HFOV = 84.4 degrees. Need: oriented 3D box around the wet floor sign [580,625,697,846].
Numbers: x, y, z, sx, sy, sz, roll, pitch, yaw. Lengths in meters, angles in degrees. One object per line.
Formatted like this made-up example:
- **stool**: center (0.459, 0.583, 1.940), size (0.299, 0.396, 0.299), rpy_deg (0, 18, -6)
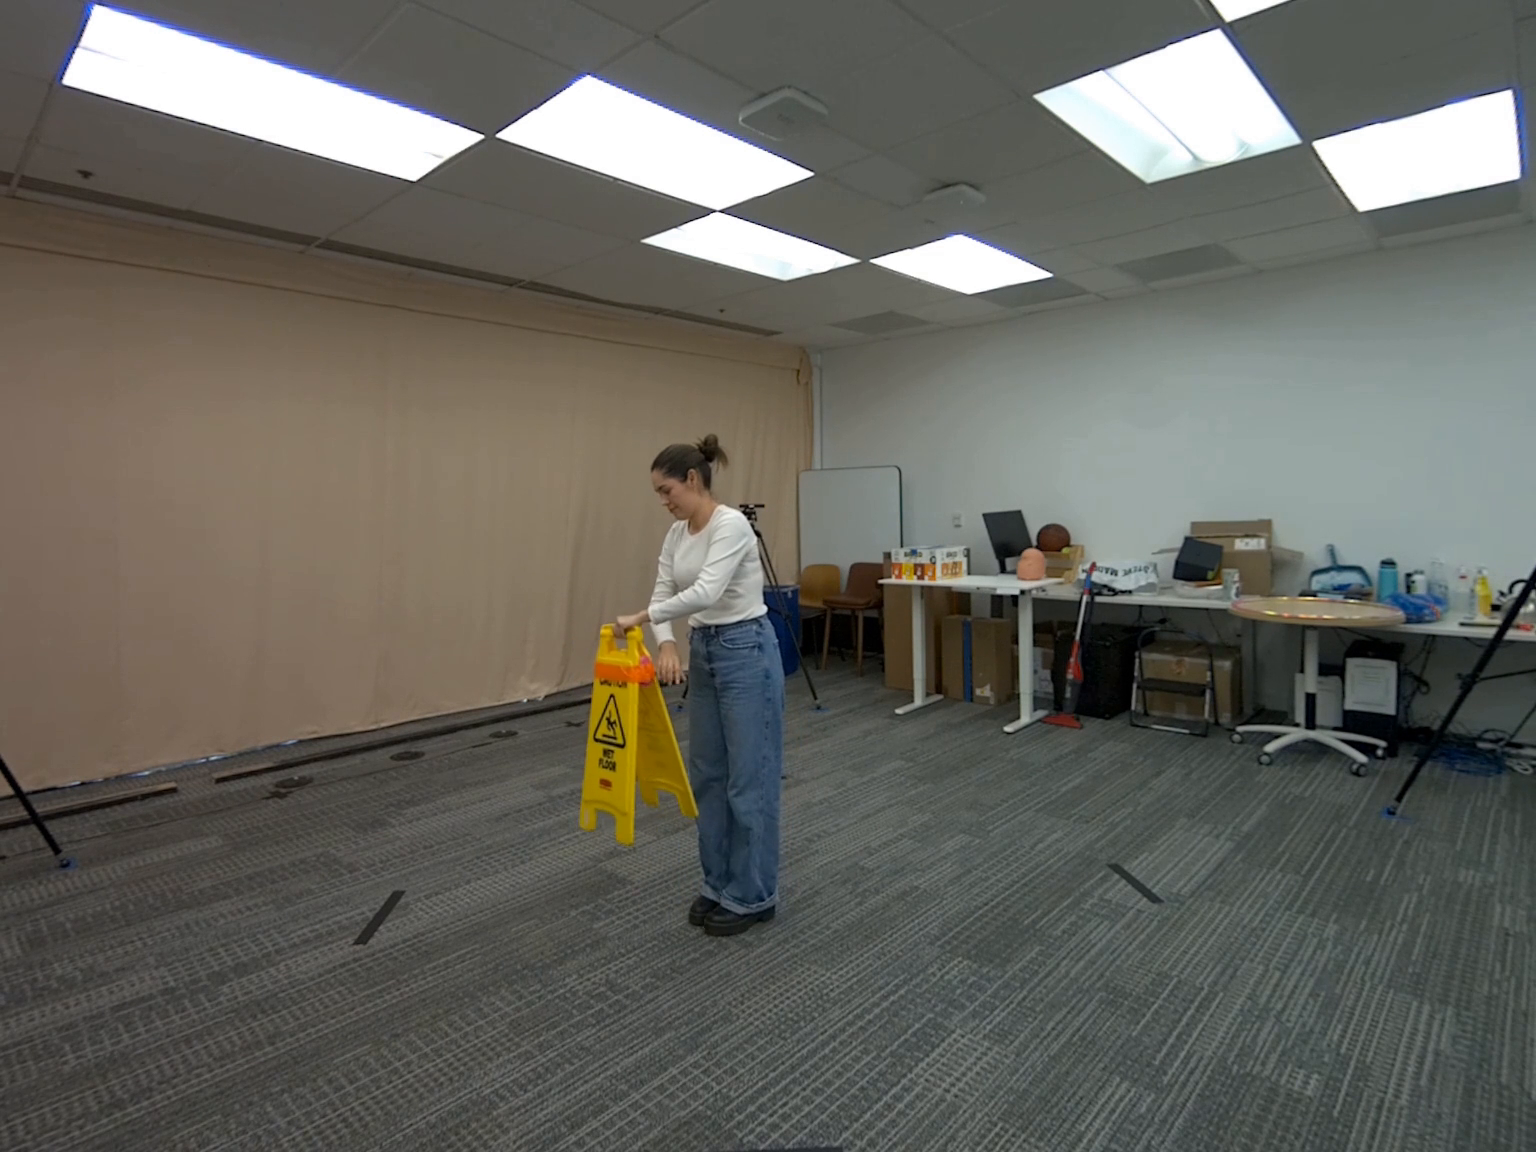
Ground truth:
- **wet floor sign**: center (-0.442, 0.481, 2.722), size (0.281, 0.645, 0.291), rpy_deg (-8, 3, -44)
